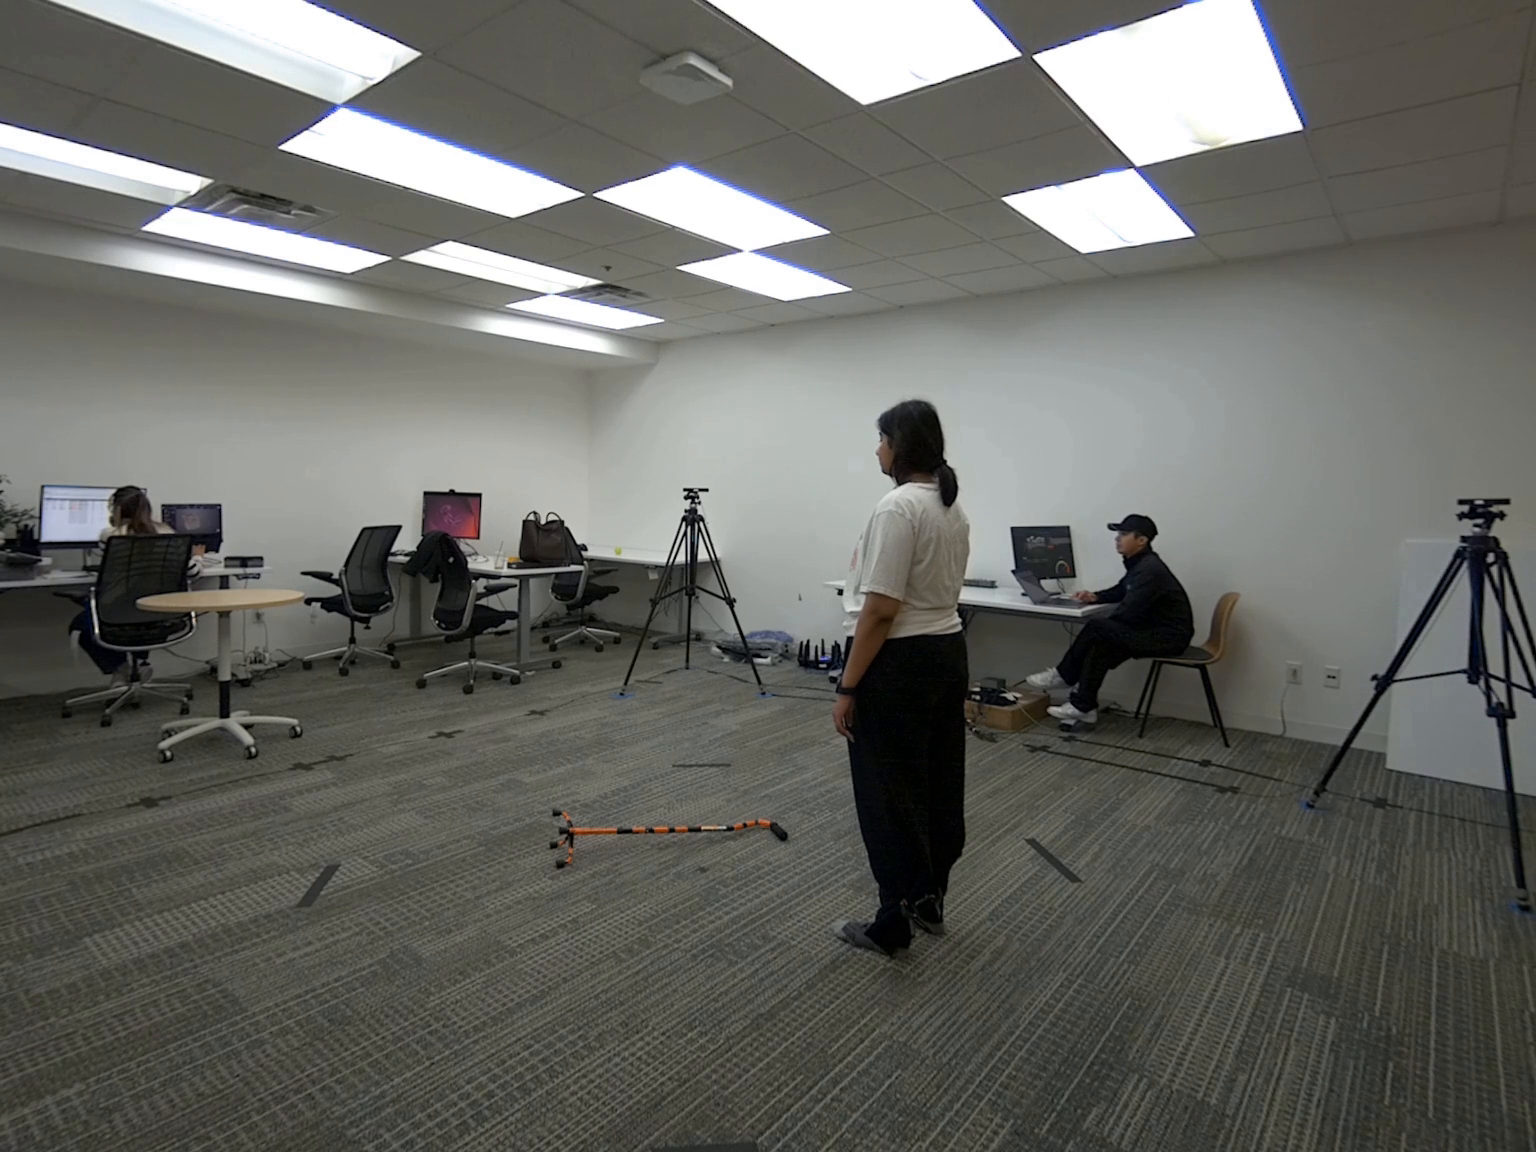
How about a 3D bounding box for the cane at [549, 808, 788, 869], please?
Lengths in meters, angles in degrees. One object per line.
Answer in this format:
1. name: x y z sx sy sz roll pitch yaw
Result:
1. cane: -0.388 0.998 3.321 0.890 0.151 0.211 4 2 -18
